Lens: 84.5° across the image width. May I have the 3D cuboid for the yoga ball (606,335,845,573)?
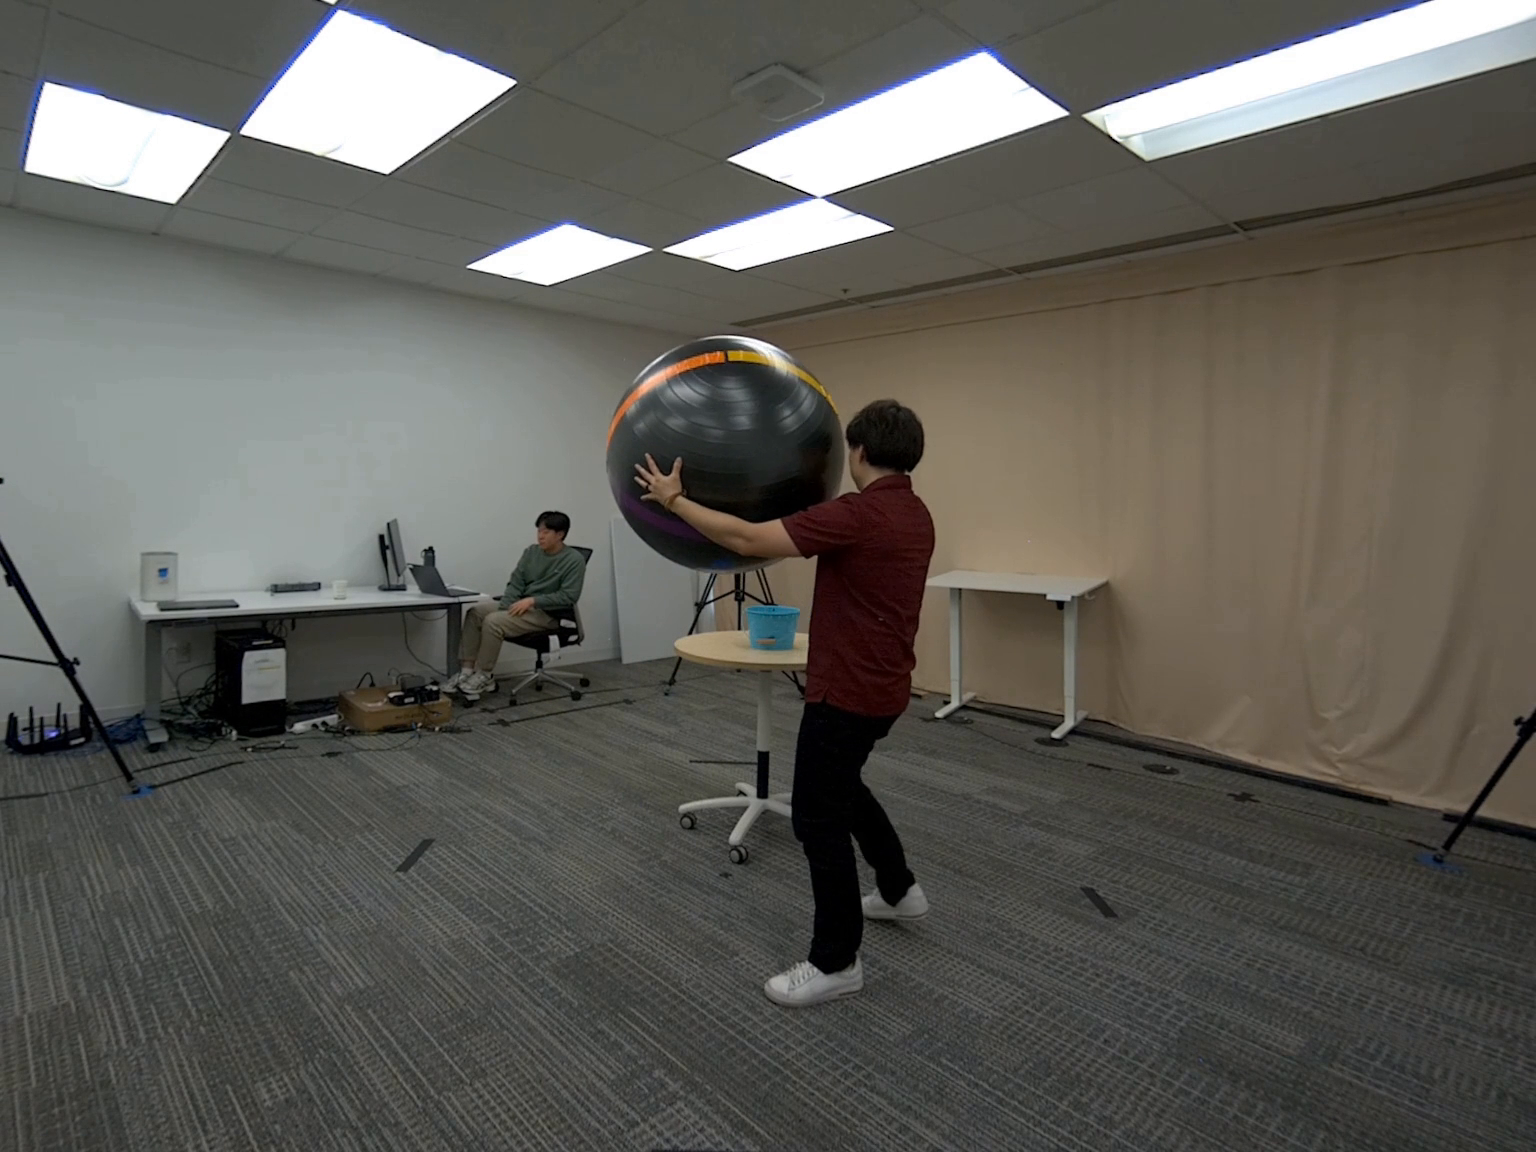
[{"bbox_3d":[-0.144,-0.367,2.710,0.757,0.756,0.761,1,4,-1],"label":"yoga ball"}]
